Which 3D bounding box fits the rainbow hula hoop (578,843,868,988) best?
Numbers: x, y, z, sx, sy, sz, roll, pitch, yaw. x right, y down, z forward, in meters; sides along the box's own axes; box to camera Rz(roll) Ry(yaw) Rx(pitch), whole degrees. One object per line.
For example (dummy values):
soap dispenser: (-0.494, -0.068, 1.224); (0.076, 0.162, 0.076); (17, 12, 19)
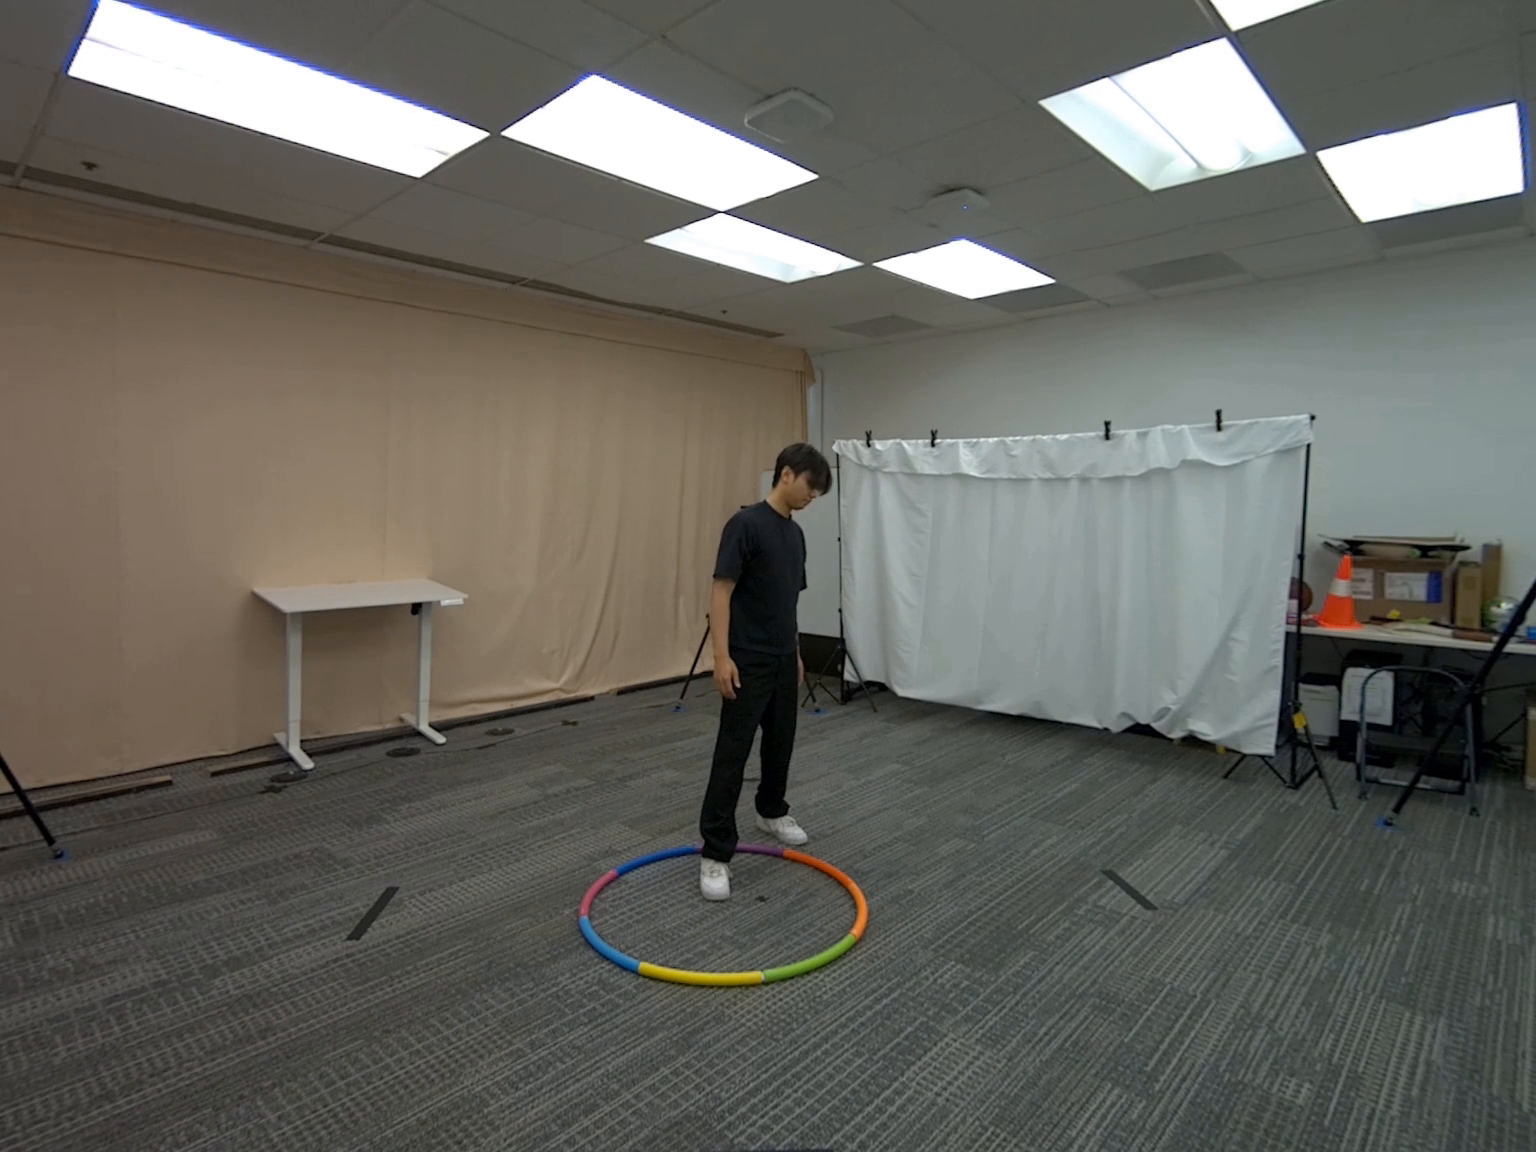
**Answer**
rainbow hula hoop: (-0.151, 1.122, 2.917); (0.978, 0.035, 0.982); (0, 5, -2)
